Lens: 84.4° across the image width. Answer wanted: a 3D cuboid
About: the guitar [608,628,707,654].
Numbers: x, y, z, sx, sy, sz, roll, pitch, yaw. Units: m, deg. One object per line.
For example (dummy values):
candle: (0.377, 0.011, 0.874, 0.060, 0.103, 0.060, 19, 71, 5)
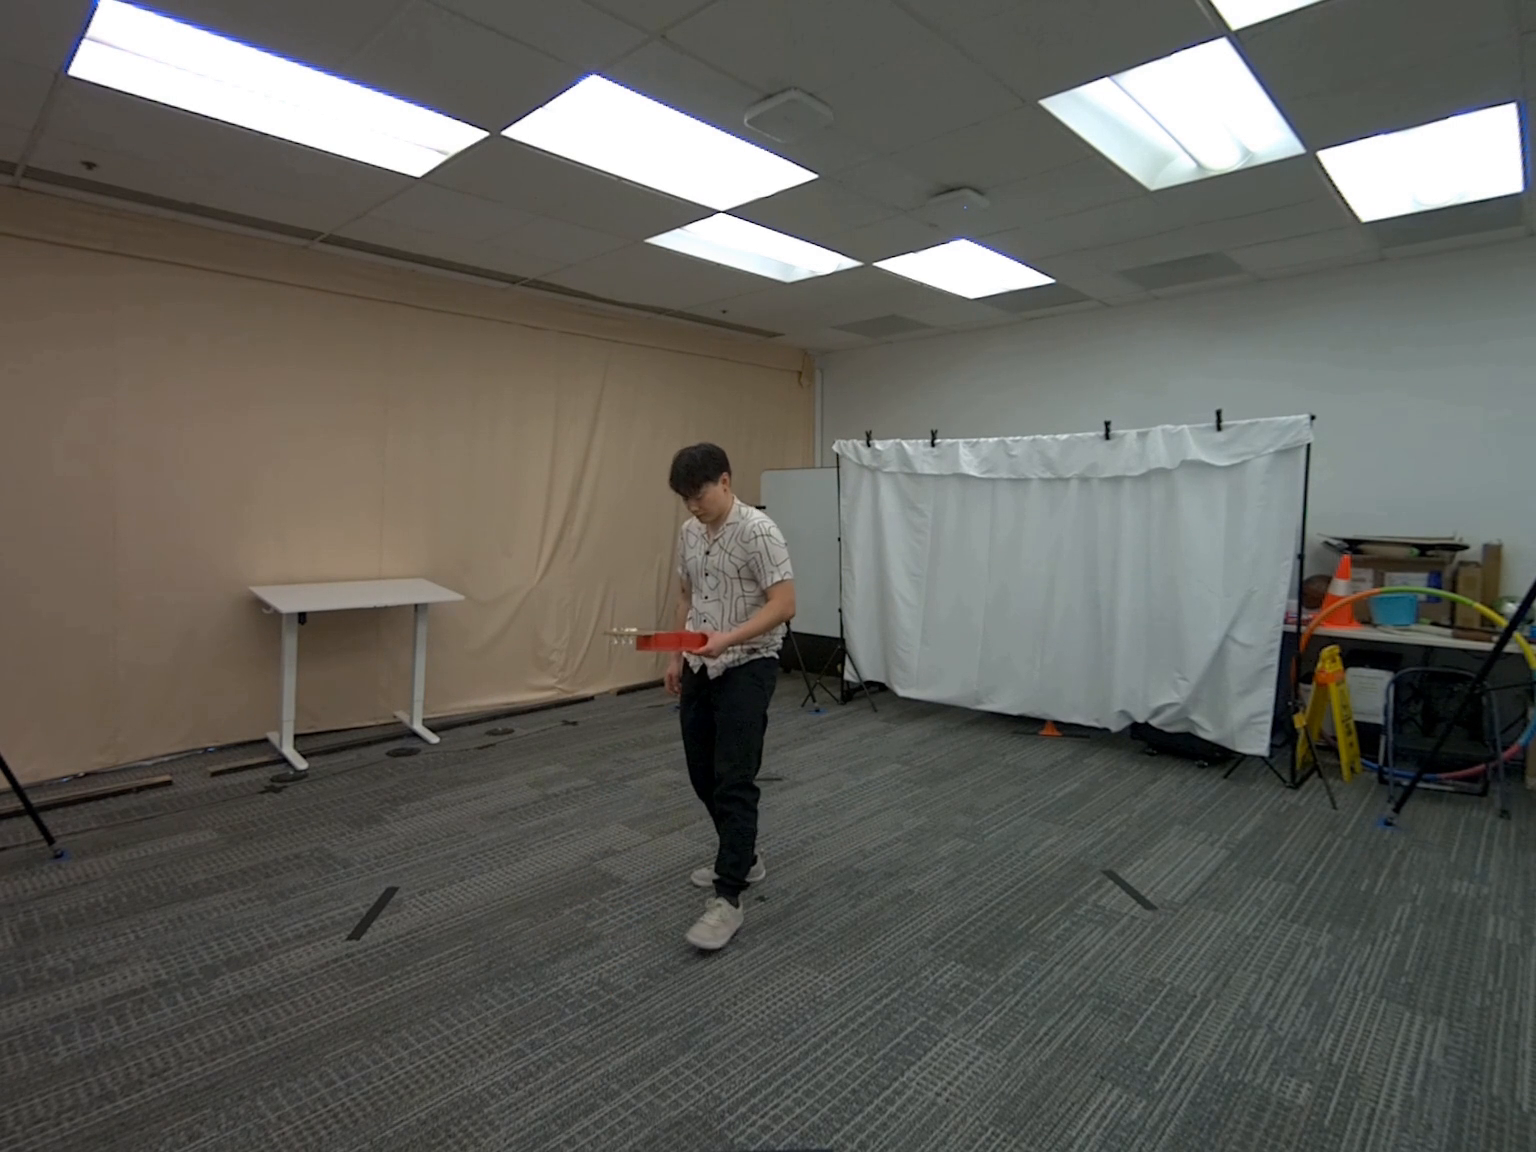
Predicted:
guitar: (-0.389, 0.213, 2.677, 0.199, 0.071, 0.481, -1, -4, 37)
